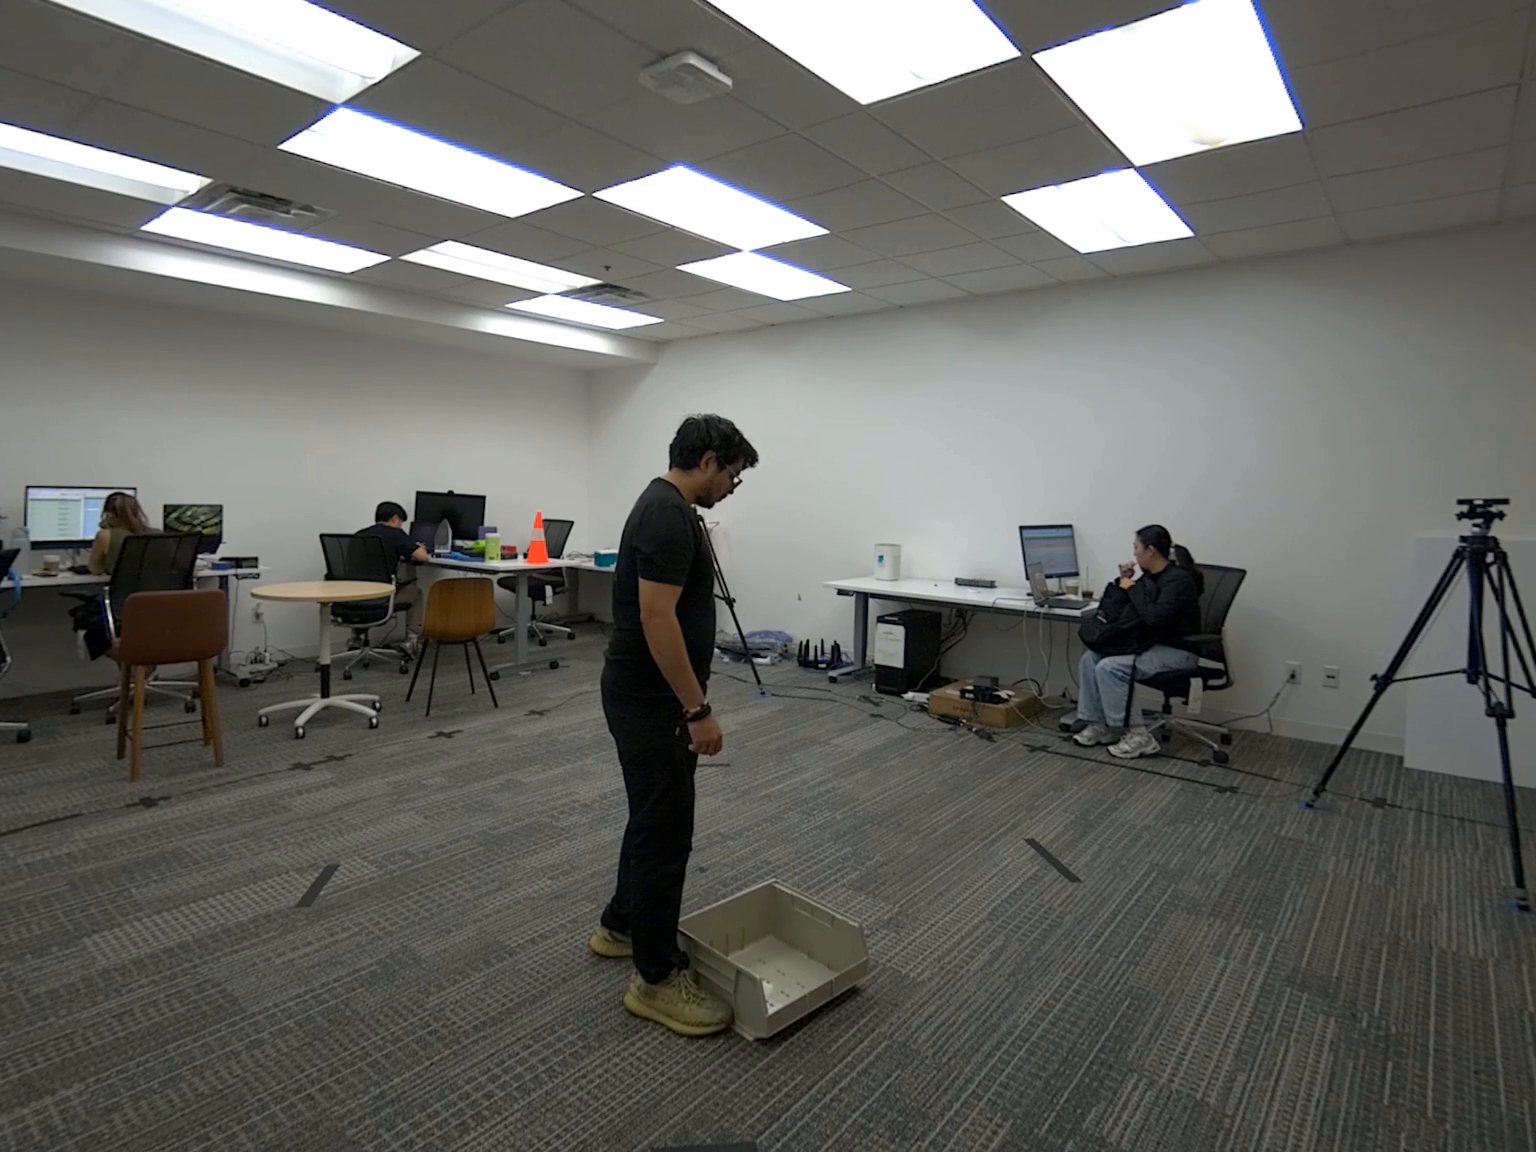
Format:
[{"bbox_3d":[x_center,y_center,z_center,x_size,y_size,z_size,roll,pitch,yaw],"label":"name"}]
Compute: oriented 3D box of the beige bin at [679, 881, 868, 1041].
[{"bbox_3d":[-0.002,1.060,2.370,0.410,0.188,0.390,-5,7,-44],"label":"beige bin"}]
